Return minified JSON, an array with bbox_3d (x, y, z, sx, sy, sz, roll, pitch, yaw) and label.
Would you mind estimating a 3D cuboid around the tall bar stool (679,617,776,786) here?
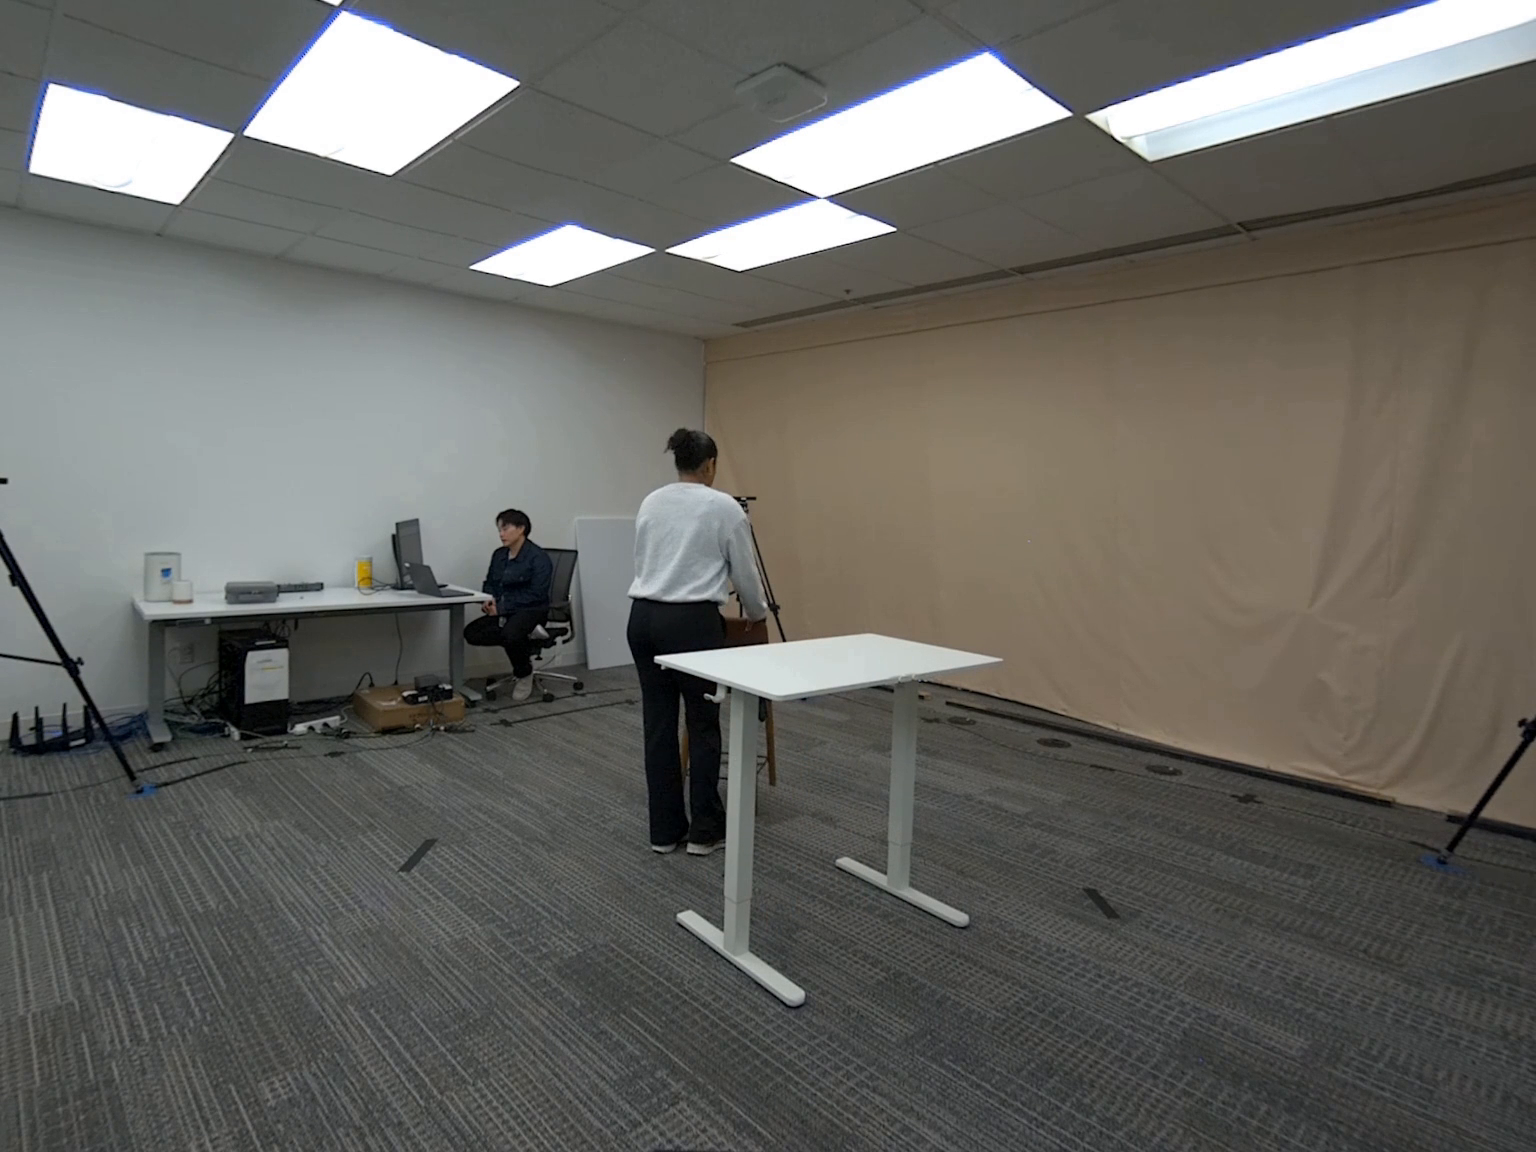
[{"bbox_3d":[-0.197,0.598,3.928,0.461,0.887,0.464,2,5,12],"label":"tall bar stool"}]
